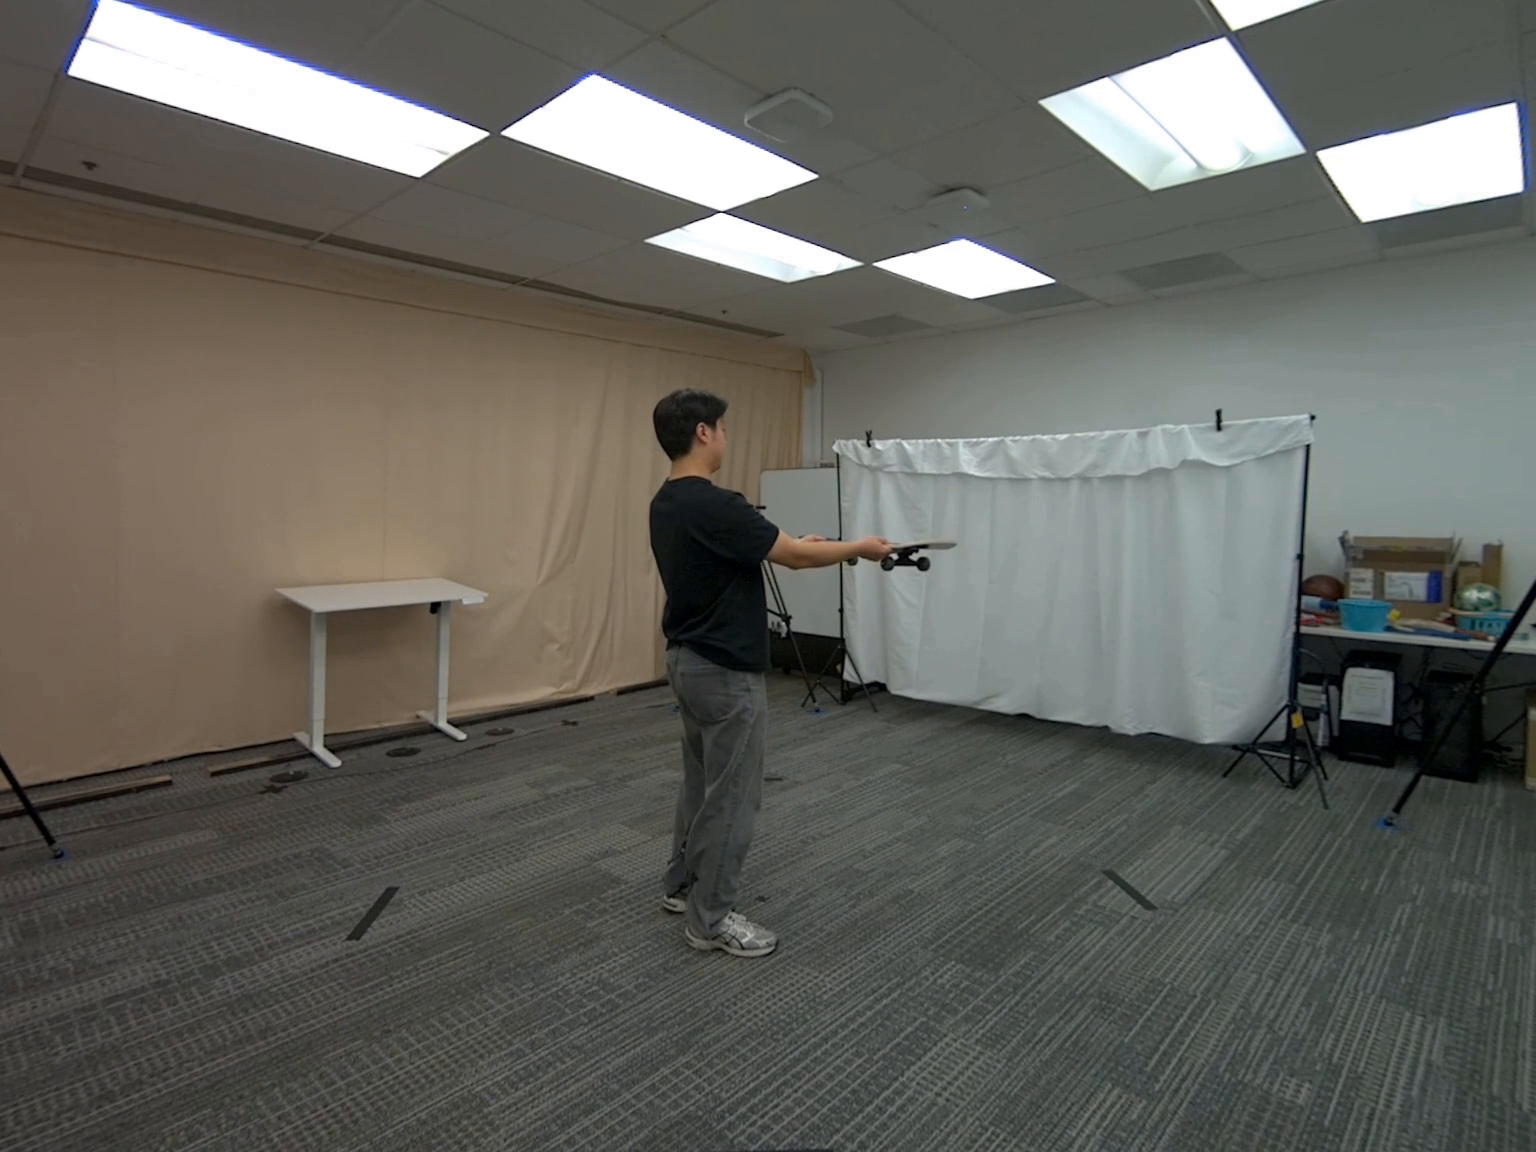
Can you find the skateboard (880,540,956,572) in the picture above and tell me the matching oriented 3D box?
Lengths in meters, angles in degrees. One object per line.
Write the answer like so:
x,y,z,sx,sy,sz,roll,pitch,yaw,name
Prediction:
0.363,-0.077,2.972,0.188,0.110,0.808,2,3,-31,skateboard
